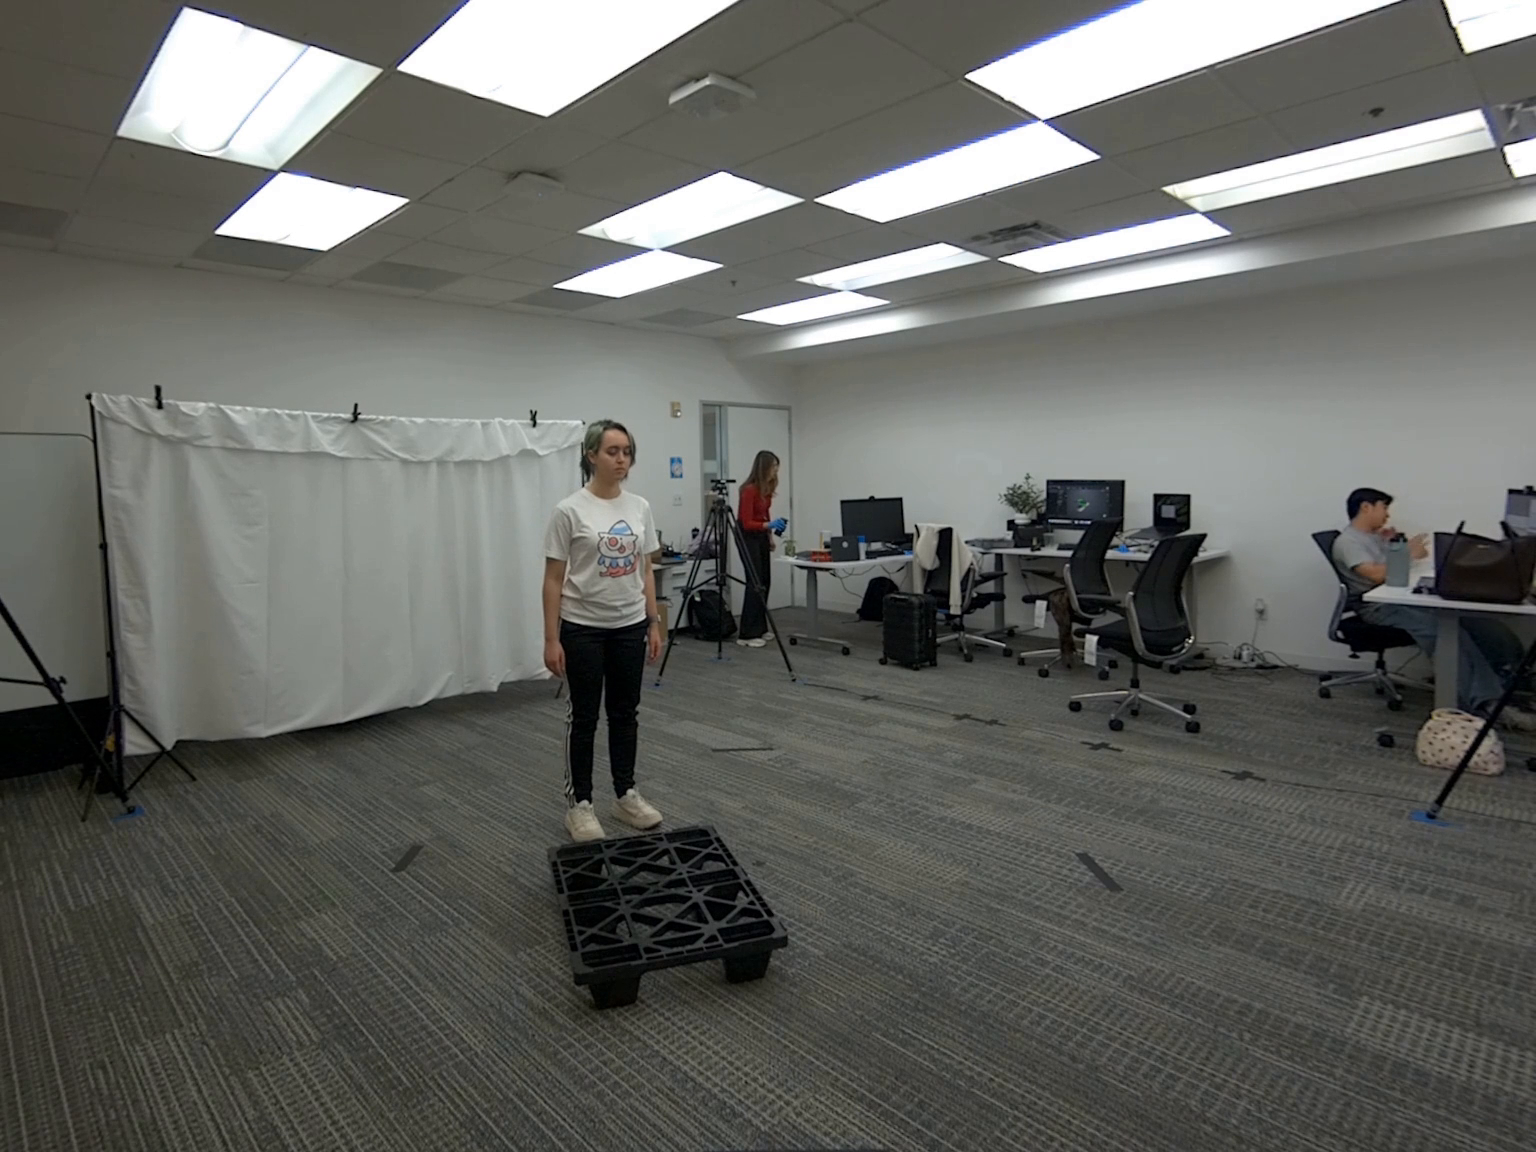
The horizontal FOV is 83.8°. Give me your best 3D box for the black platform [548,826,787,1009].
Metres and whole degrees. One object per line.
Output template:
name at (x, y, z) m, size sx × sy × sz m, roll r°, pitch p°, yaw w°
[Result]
black platform at (-0.350, 1.036, 2.677) m, size 0.596 × 0.142 × 0.822 m, roll -4°, pitch 7°, yaw -18°
